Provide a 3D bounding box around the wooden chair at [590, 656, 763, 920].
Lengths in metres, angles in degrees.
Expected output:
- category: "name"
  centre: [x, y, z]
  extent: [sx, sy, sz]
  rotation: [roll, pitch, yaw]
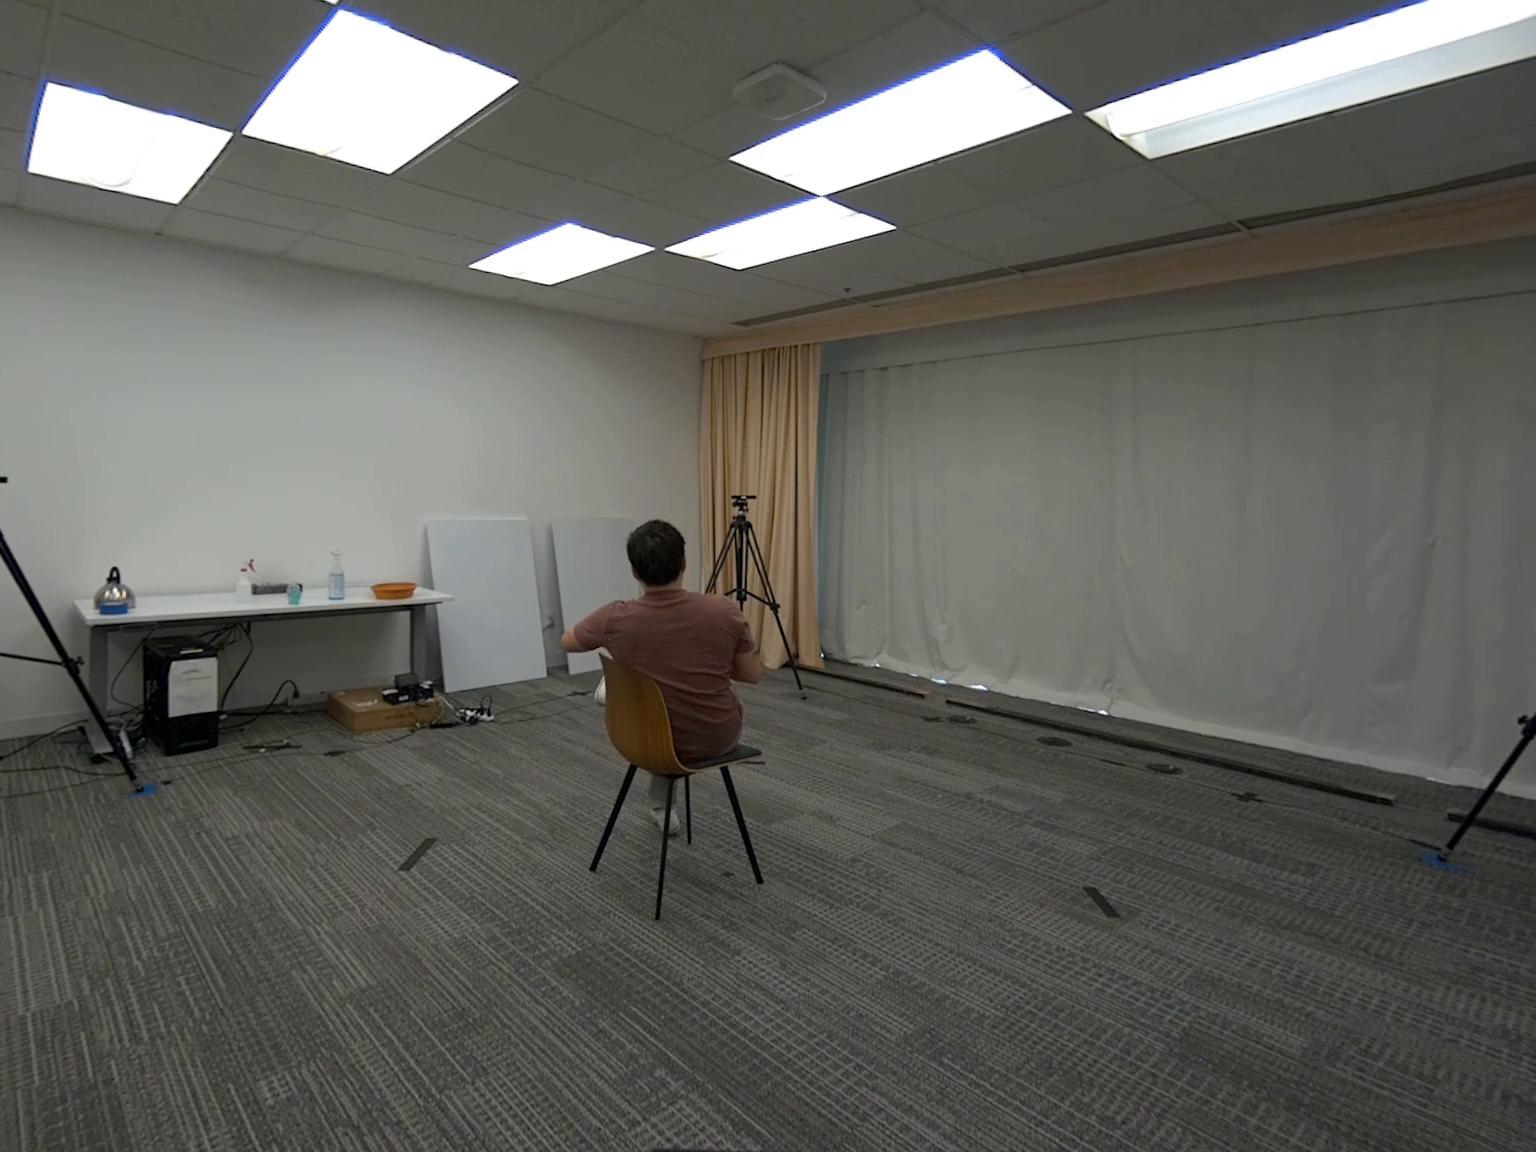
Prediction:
- category: "wooden chair"
  centre: [-0.328, 0.678, 3.041]
  extent: [0.512, 0.873, 0.490]
  rotation: [-7, 8, -39]
